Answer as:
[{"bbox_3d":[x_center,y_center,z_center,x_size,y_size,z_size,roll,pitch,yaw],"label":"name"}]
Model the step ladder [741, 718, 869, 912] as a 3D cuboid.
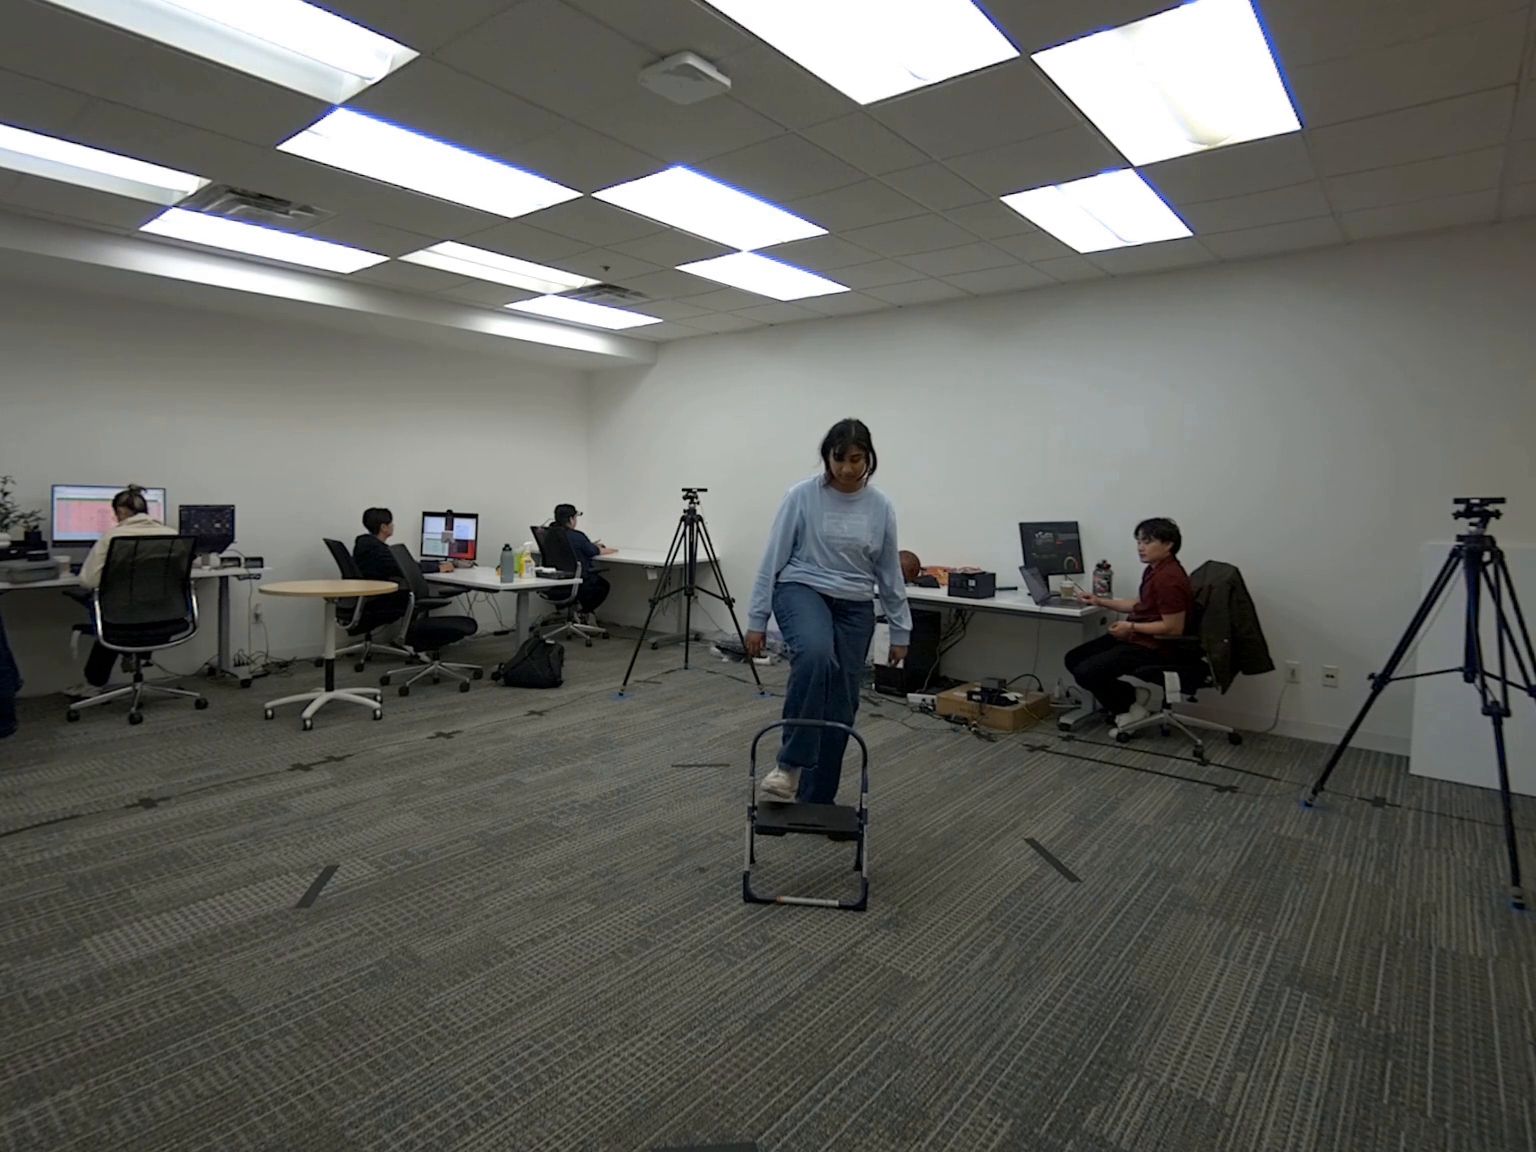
[{"bbox_3d":[0.128,0.787,2.991,0.433,0.604,0.348,1,3,4],"label":"step ladder"}]
